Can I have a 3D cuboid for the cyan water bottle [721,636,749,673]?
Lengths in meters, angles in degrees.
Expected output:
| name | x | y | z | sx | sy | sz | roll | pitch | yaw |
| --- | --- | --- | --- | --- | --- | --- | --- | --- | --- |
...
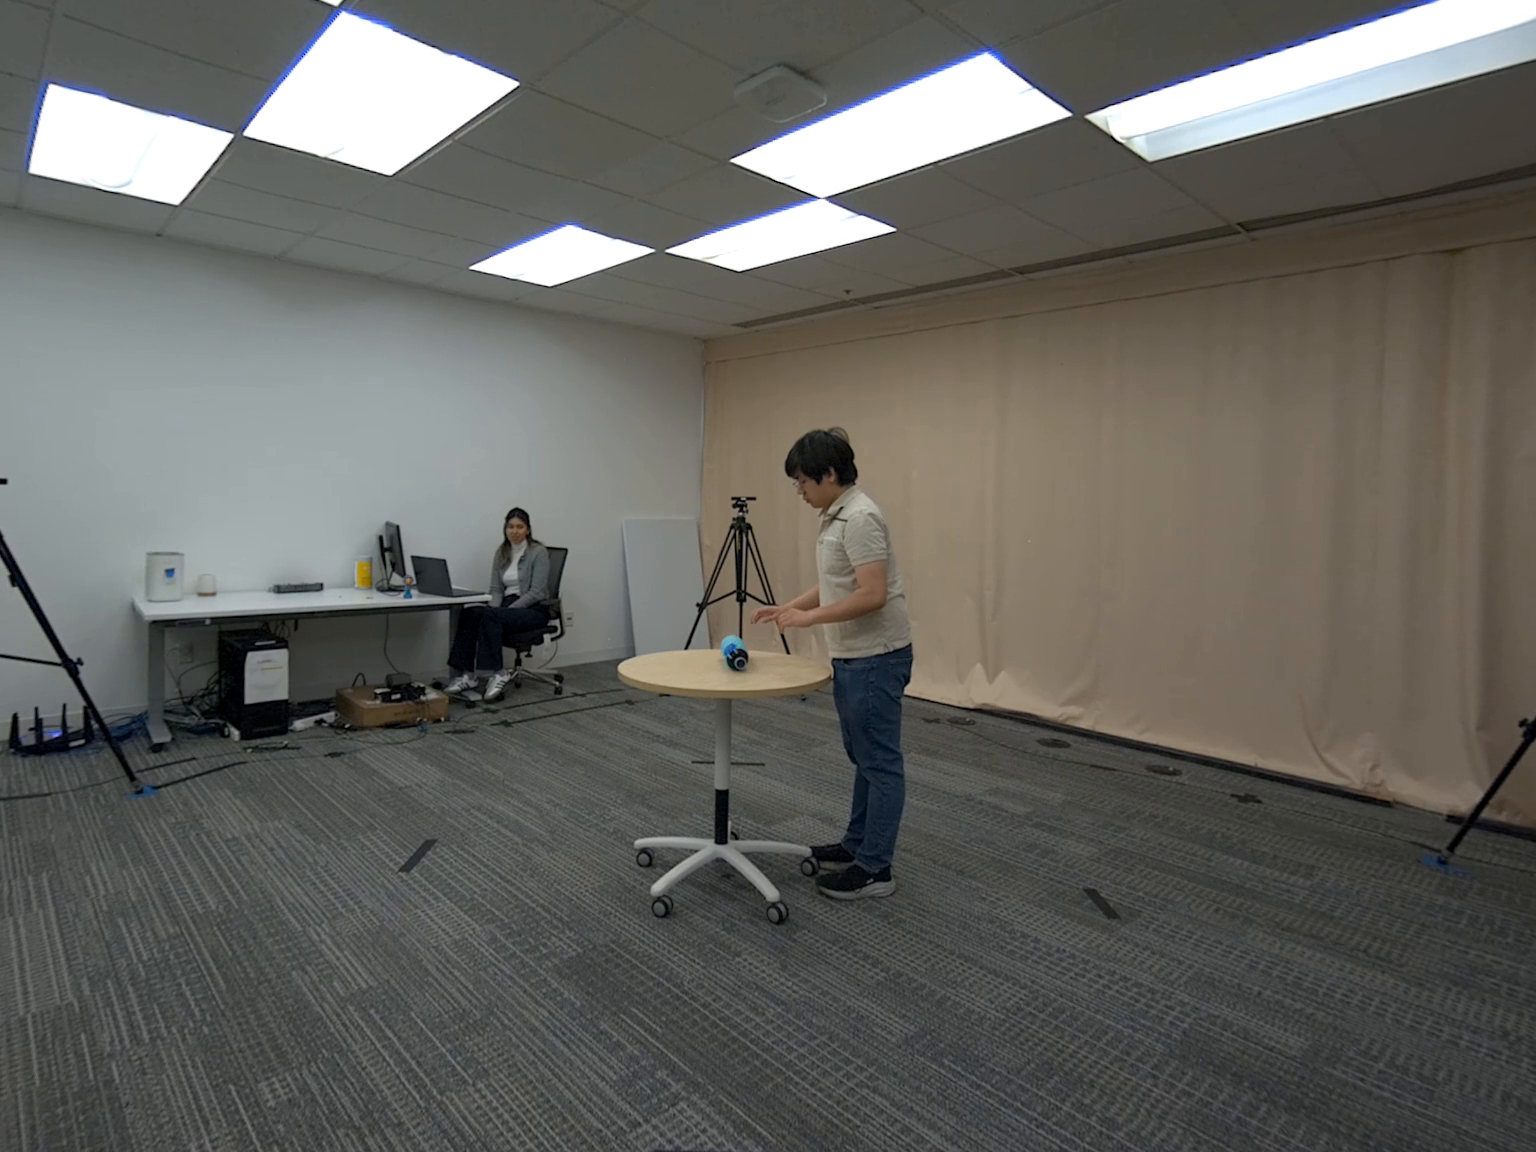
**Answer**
| name | x | y | z | sx | sy | sz | roll | pitch | yaw |
| --- | --- | --- | --- | --- | --- | --- | --- | --- | --- |
| cyan water bottle | -0.124 | 0.280 | 3.075 | 0.092 | 0.092 | 0.285 | 1 | 5 | -7 |
